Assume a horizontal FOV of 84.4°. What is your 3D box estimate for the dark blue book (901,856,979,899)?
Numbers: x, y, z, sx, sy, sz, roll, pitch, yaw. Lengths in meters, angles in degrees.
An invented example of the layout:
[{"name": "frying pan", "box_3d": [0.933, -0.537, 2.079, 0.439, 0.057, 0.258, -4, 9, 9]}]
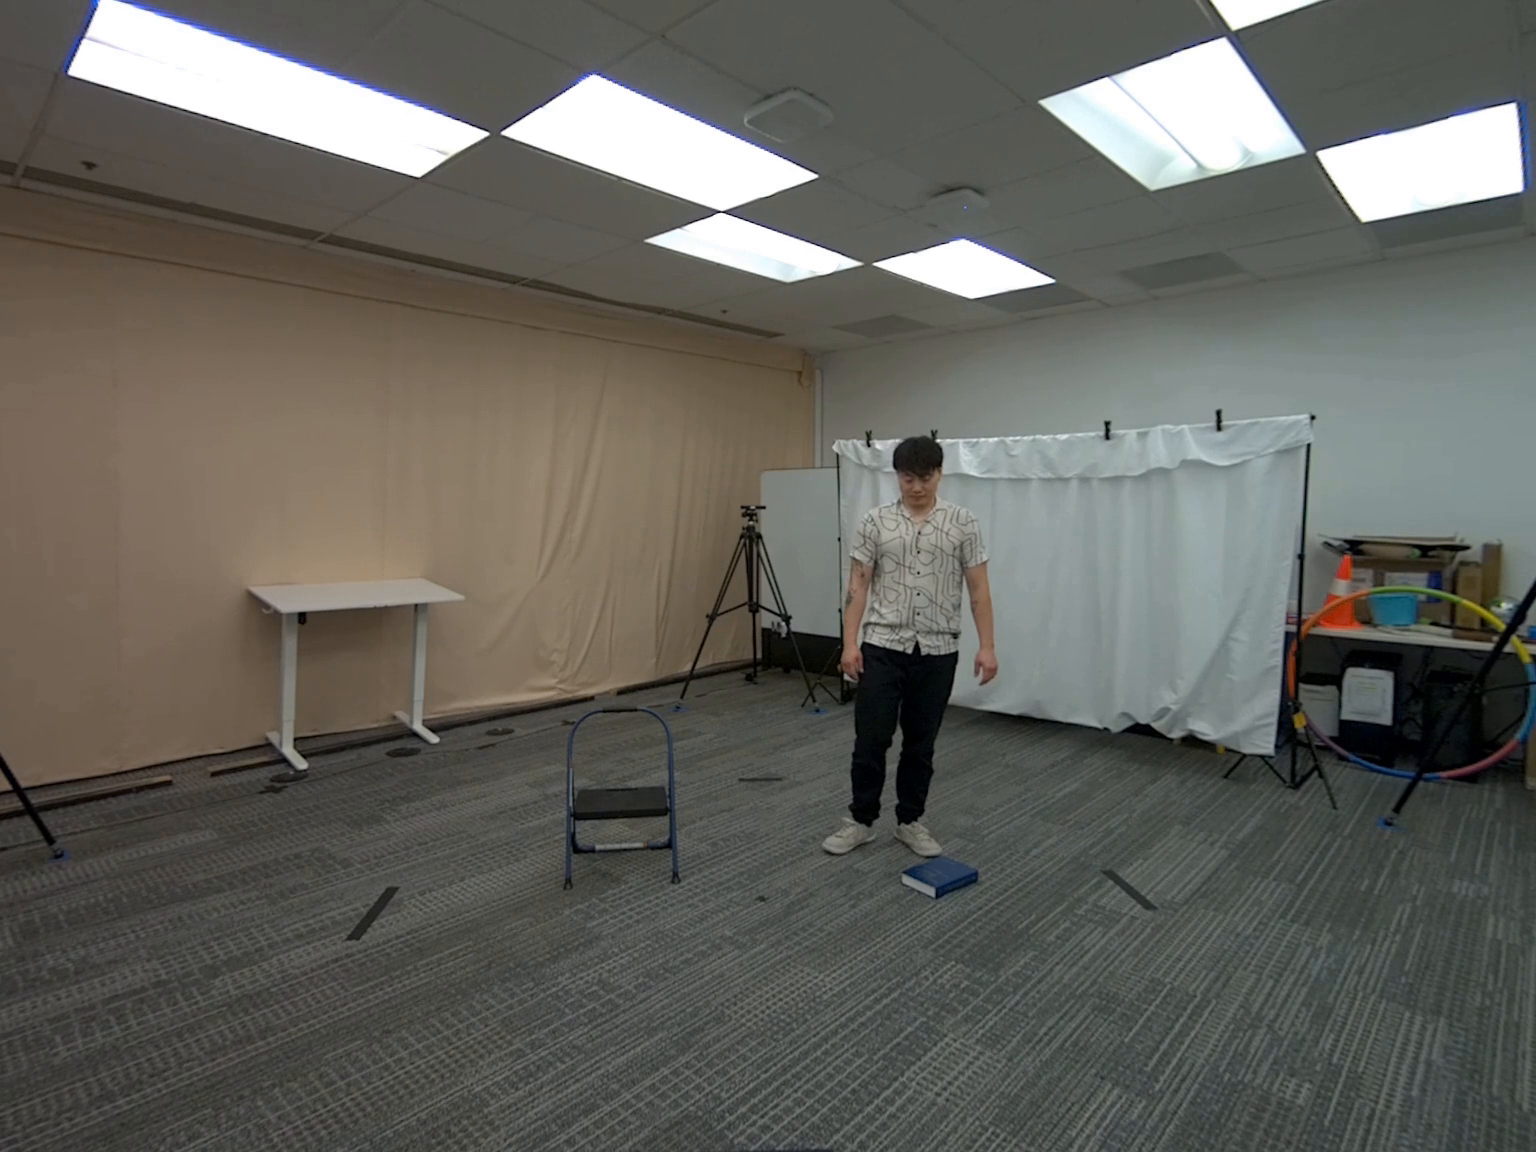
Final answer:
[{"name": "dark blue book", "box_3d": [0.635, 1.109, 3.103, 0.238, 0.045, 0.169, -4, 6, -38]}]
